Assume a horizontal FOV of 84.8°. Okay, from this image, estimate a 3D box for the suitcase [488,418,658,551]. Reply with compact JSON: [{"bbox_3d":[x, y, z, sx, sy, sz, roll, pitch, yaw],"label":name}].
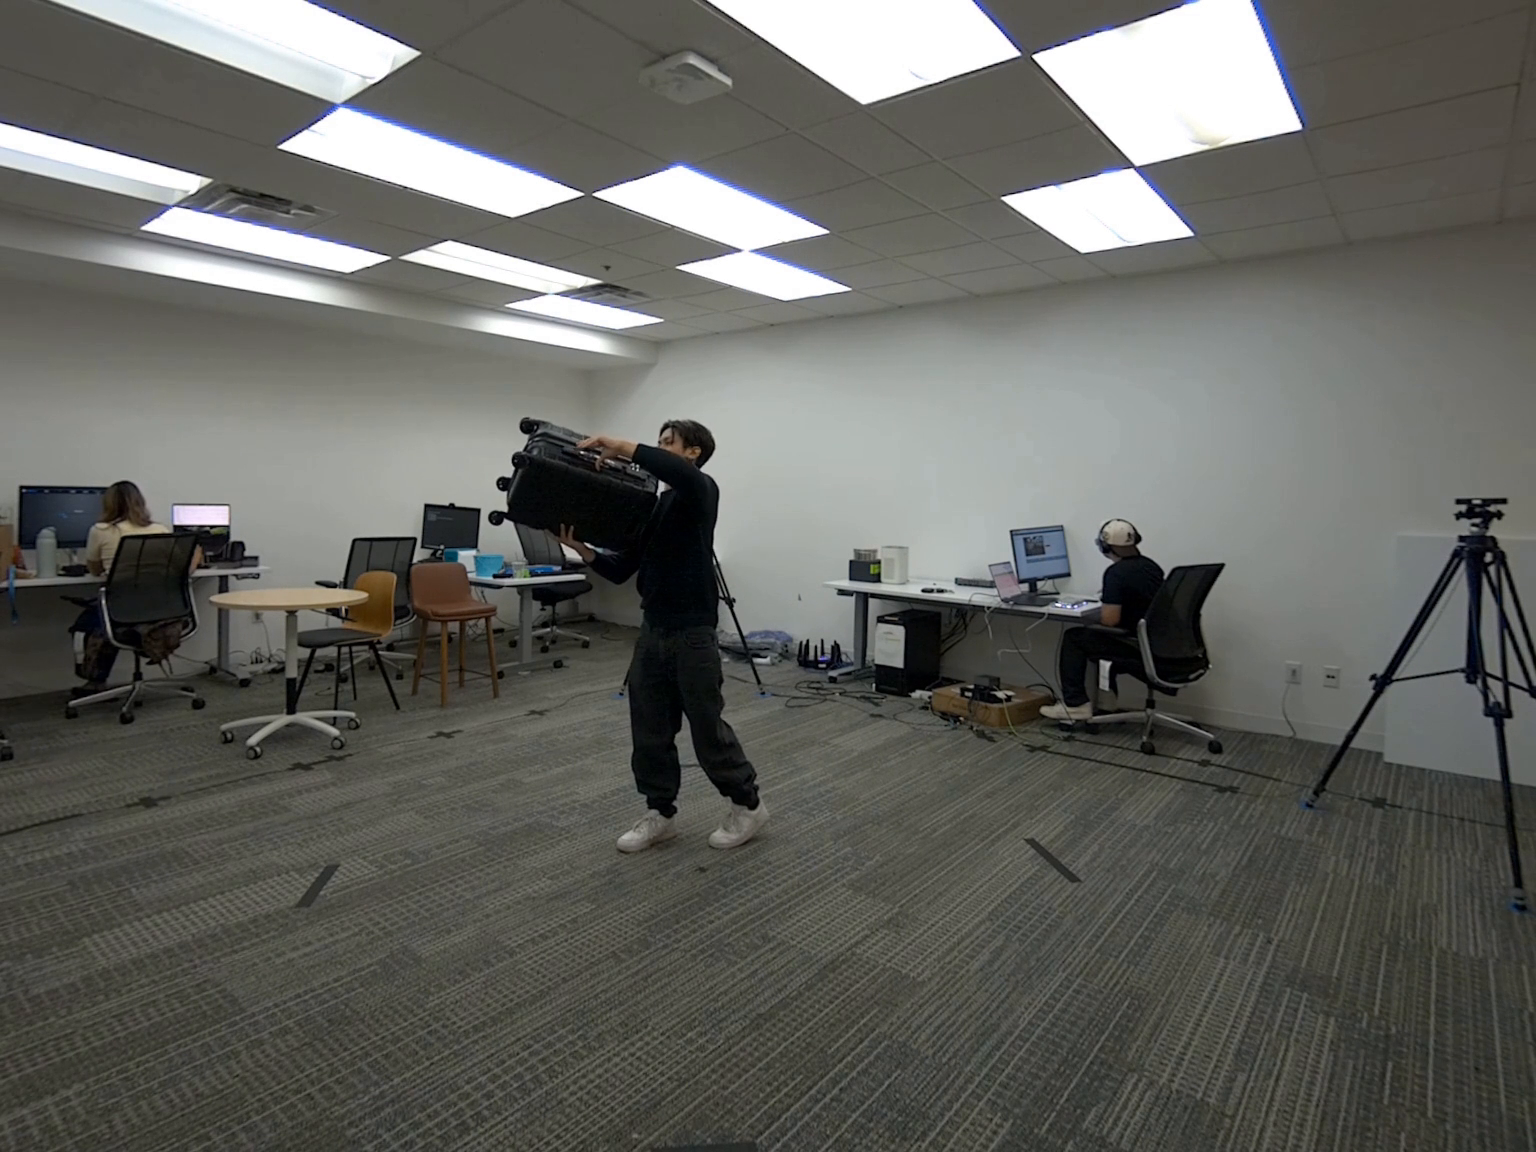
[{"bbox_3d":[-0.714,-0.331,3.136,0.536,0.372,0.256,16,40,-20],"label":"suitcase"}]
